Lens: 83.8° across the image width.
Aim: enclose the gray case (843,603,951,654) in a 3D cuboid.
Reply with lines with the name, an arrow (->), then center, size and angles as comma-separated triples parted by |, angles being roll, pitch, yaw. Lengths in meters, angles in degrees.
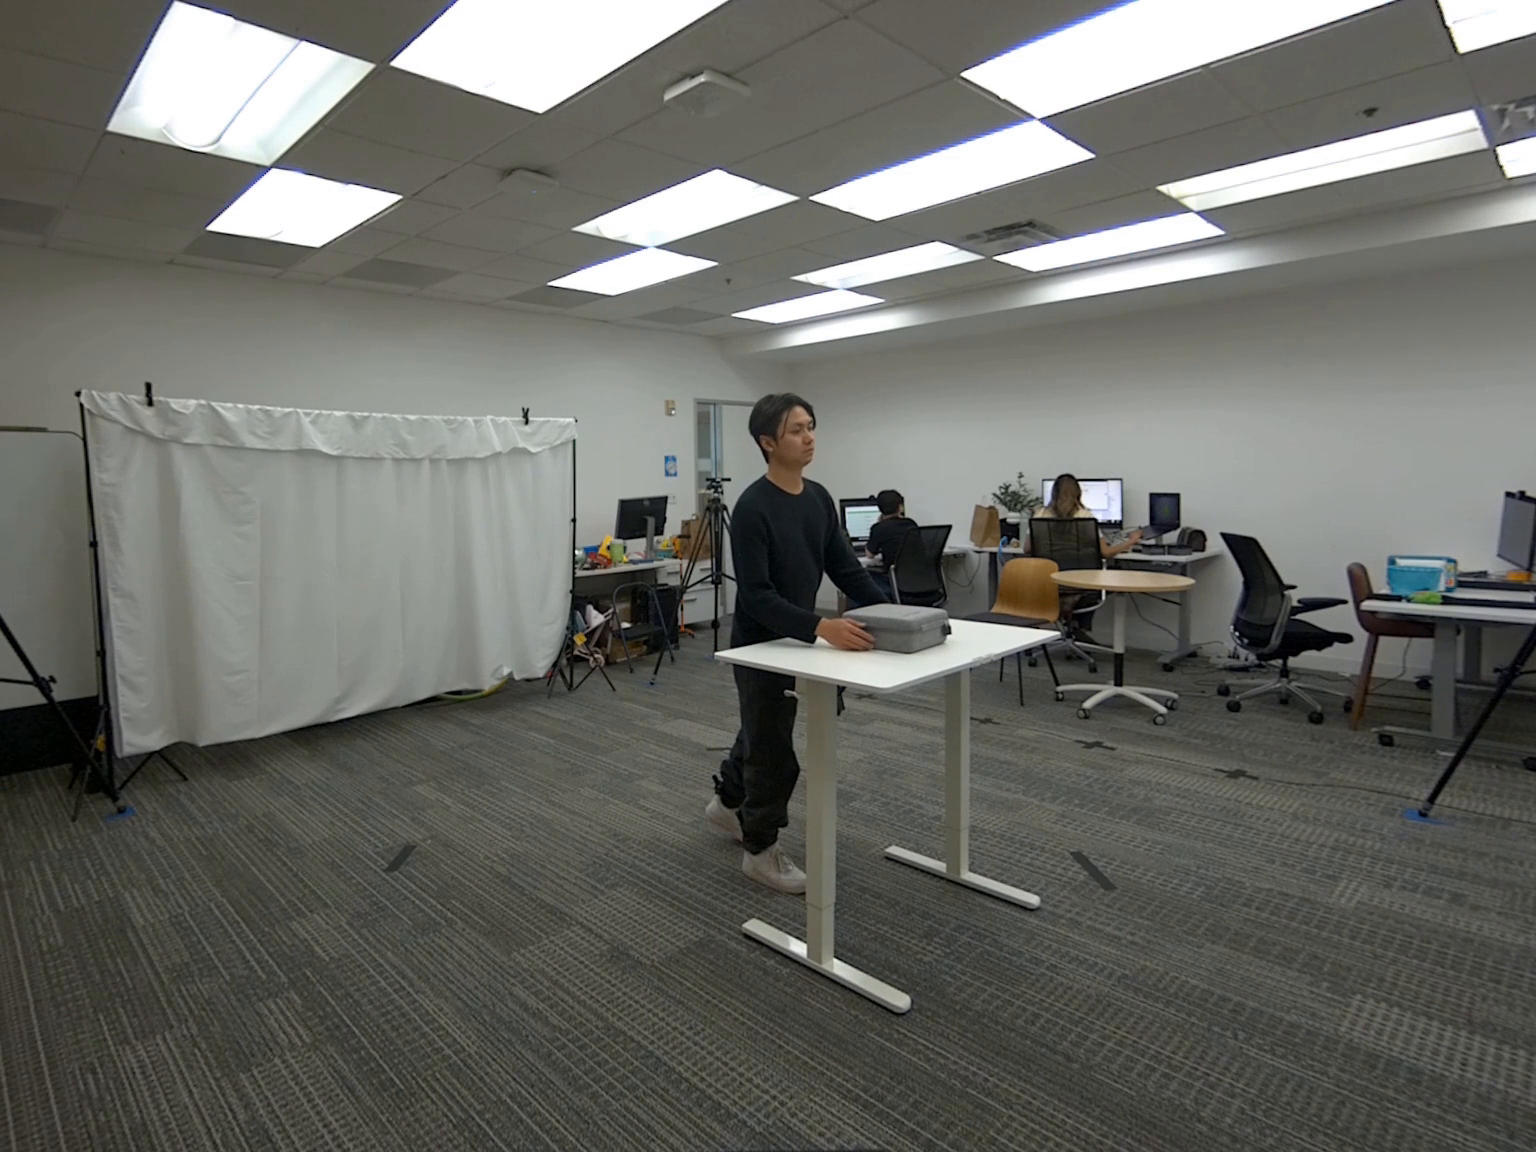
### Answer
gray case -> 0.380, 0.158, 2.618 | 0.268, 0.104, 0.251 | 3, 9, 39
